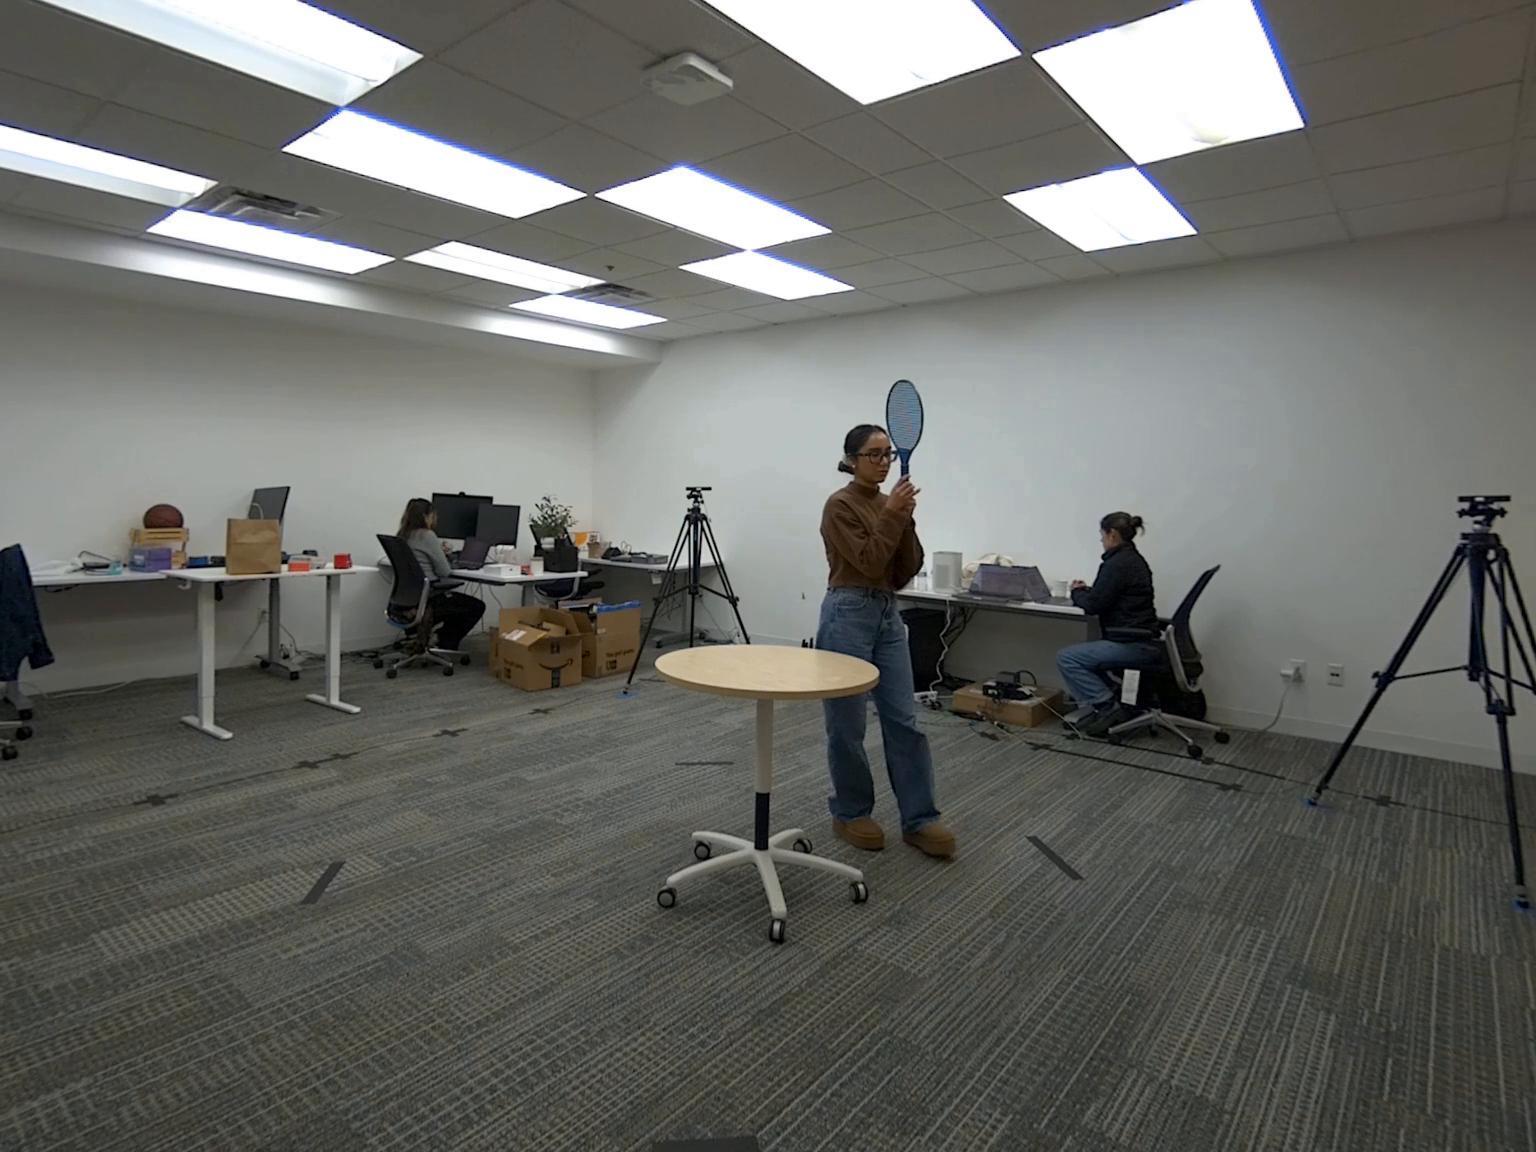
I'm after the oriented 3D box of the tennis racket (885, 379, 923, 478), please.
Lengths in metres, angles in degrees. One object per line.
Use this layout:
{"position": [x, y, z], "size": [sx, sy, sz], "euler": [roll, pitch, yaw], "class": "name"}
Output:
{"position": [0.492, -0.513, 3.149], "size": [0.031, 0.427, 0.221], "euler": [-6, 17, -27], "class": "tennis racket"}
